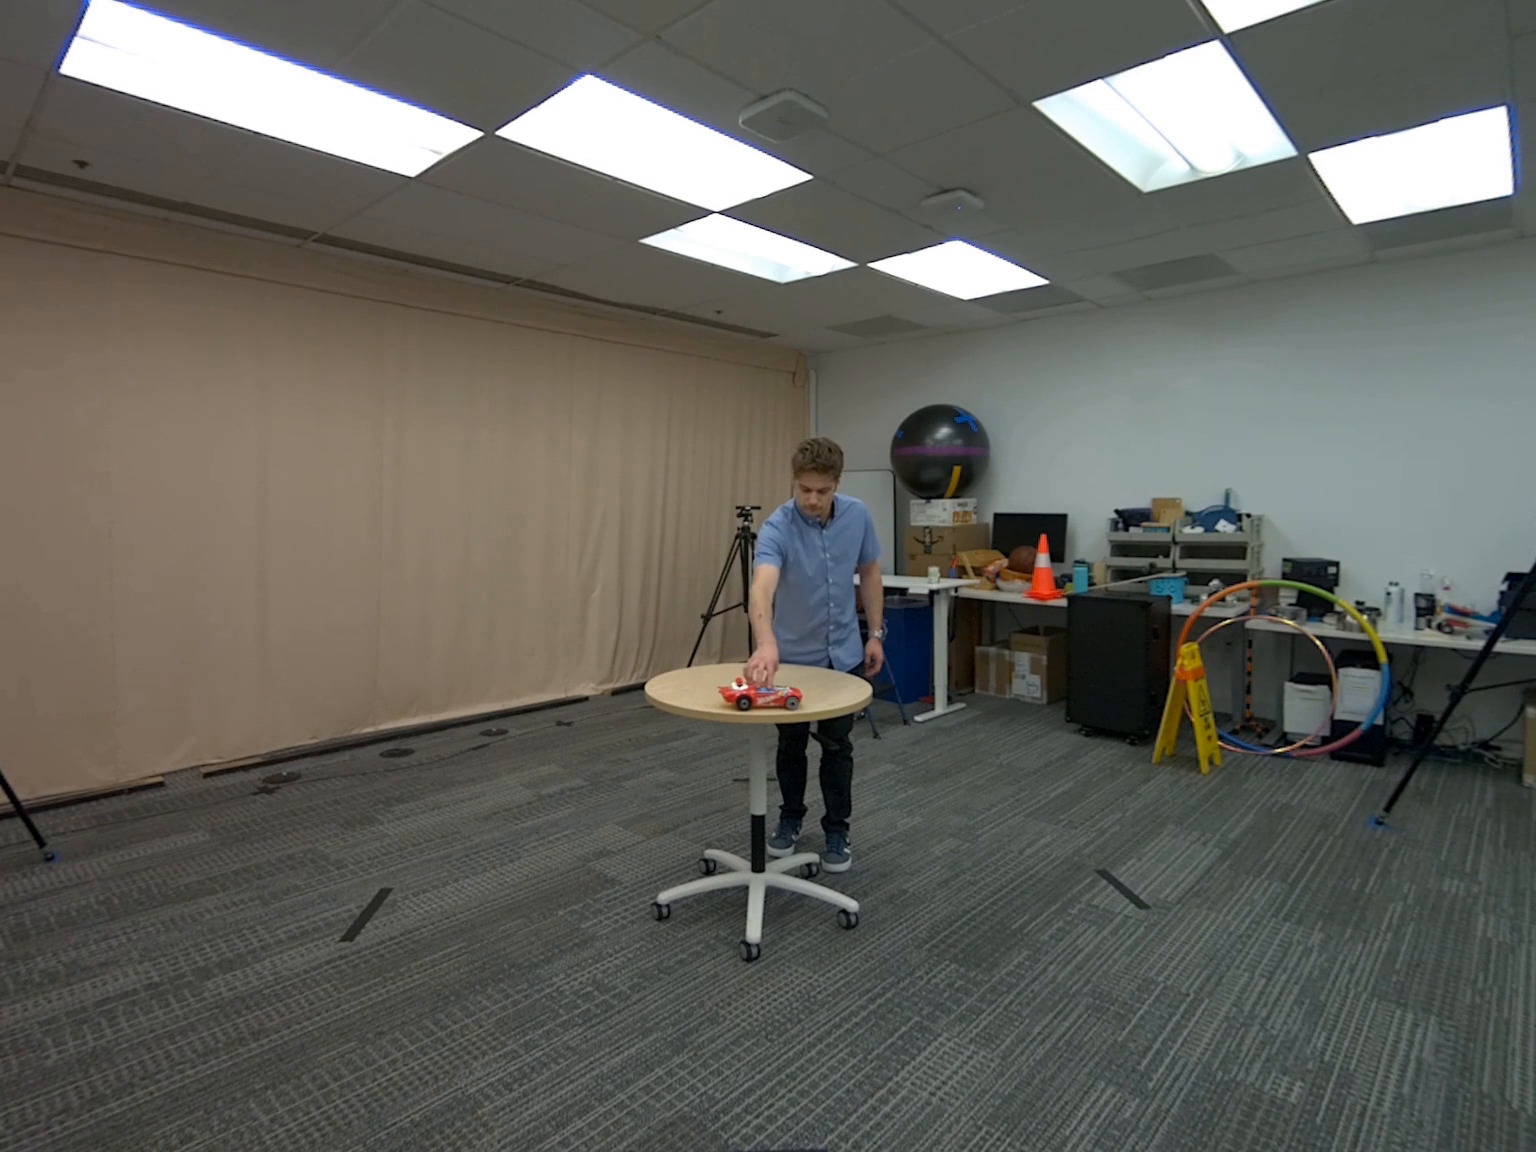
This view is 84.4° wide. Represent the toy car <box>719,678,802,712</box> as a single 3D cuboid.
[{"bbox_3d":[-0.026,0.371,2.563,0.254,0.083,0.131,12,4,-4],"label":"toy car"}]
